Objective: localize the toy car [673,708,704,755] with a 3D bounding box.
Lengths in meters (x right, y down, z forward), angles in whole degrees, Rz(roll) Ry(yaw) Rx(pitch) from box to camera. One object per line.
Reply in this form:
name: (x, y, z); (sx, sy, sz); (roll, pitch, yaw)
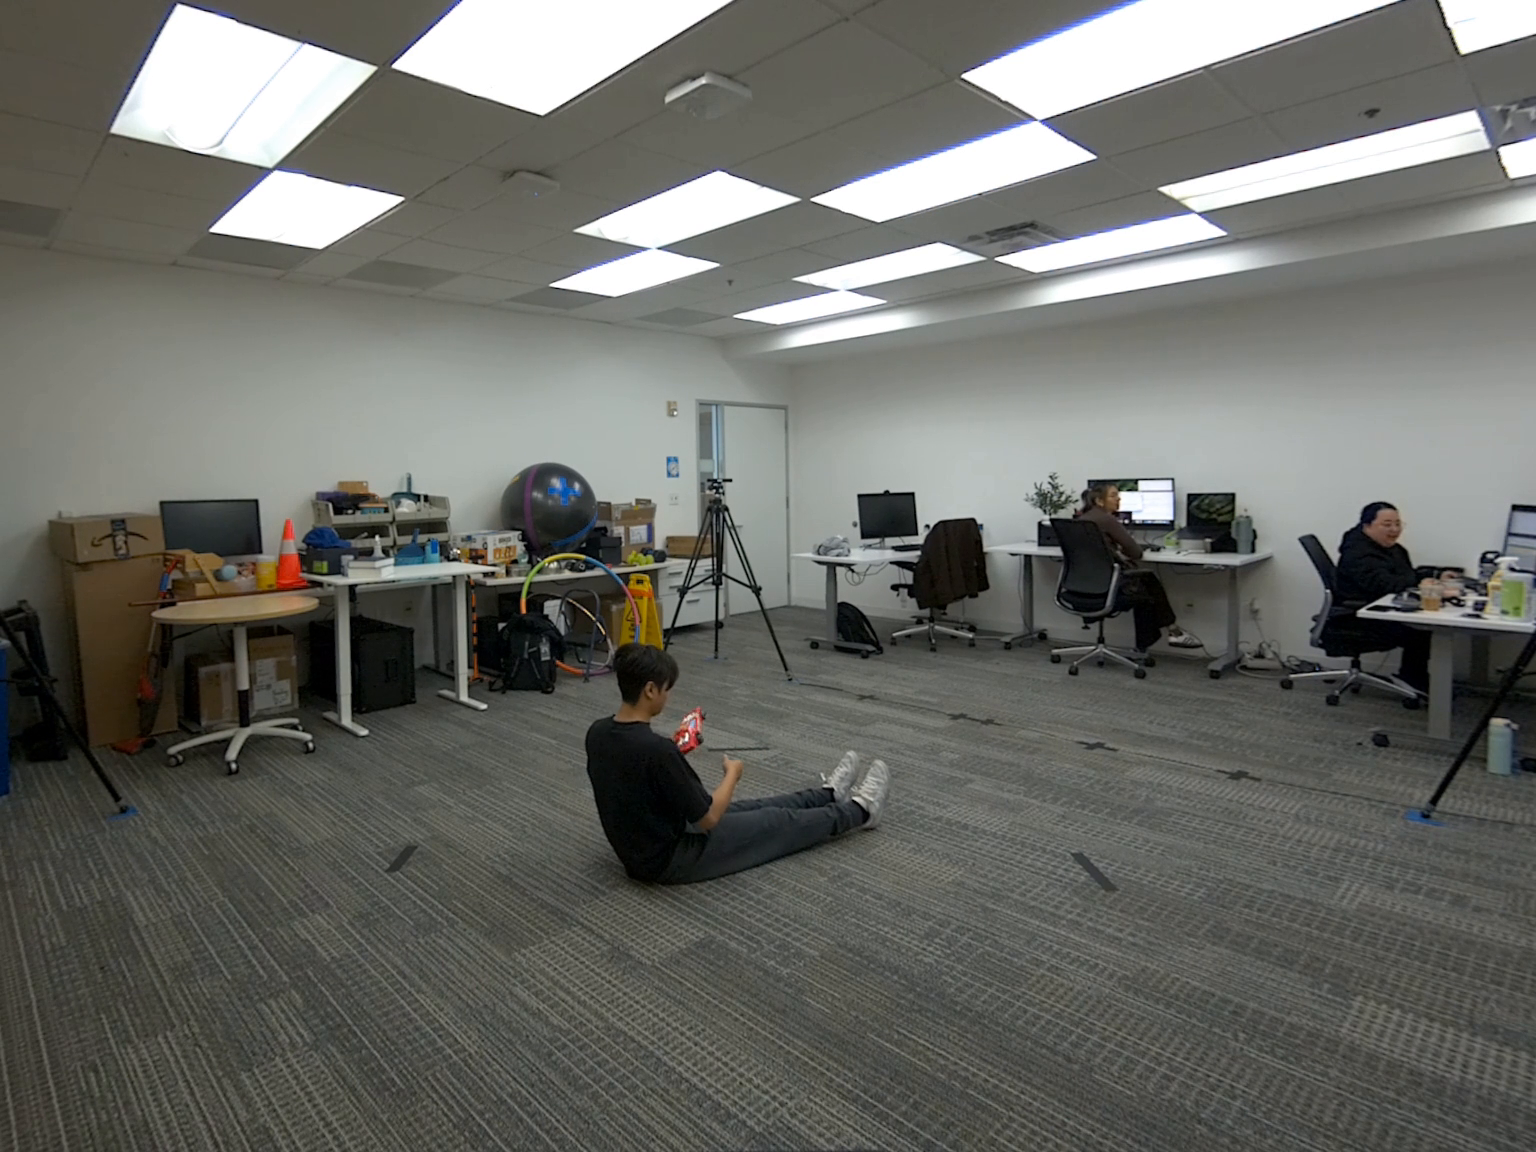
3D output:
toy car: (-0.321, 0.647, 3.439); (0.131, 0.082, 0.256); (-35, 12, 23)
